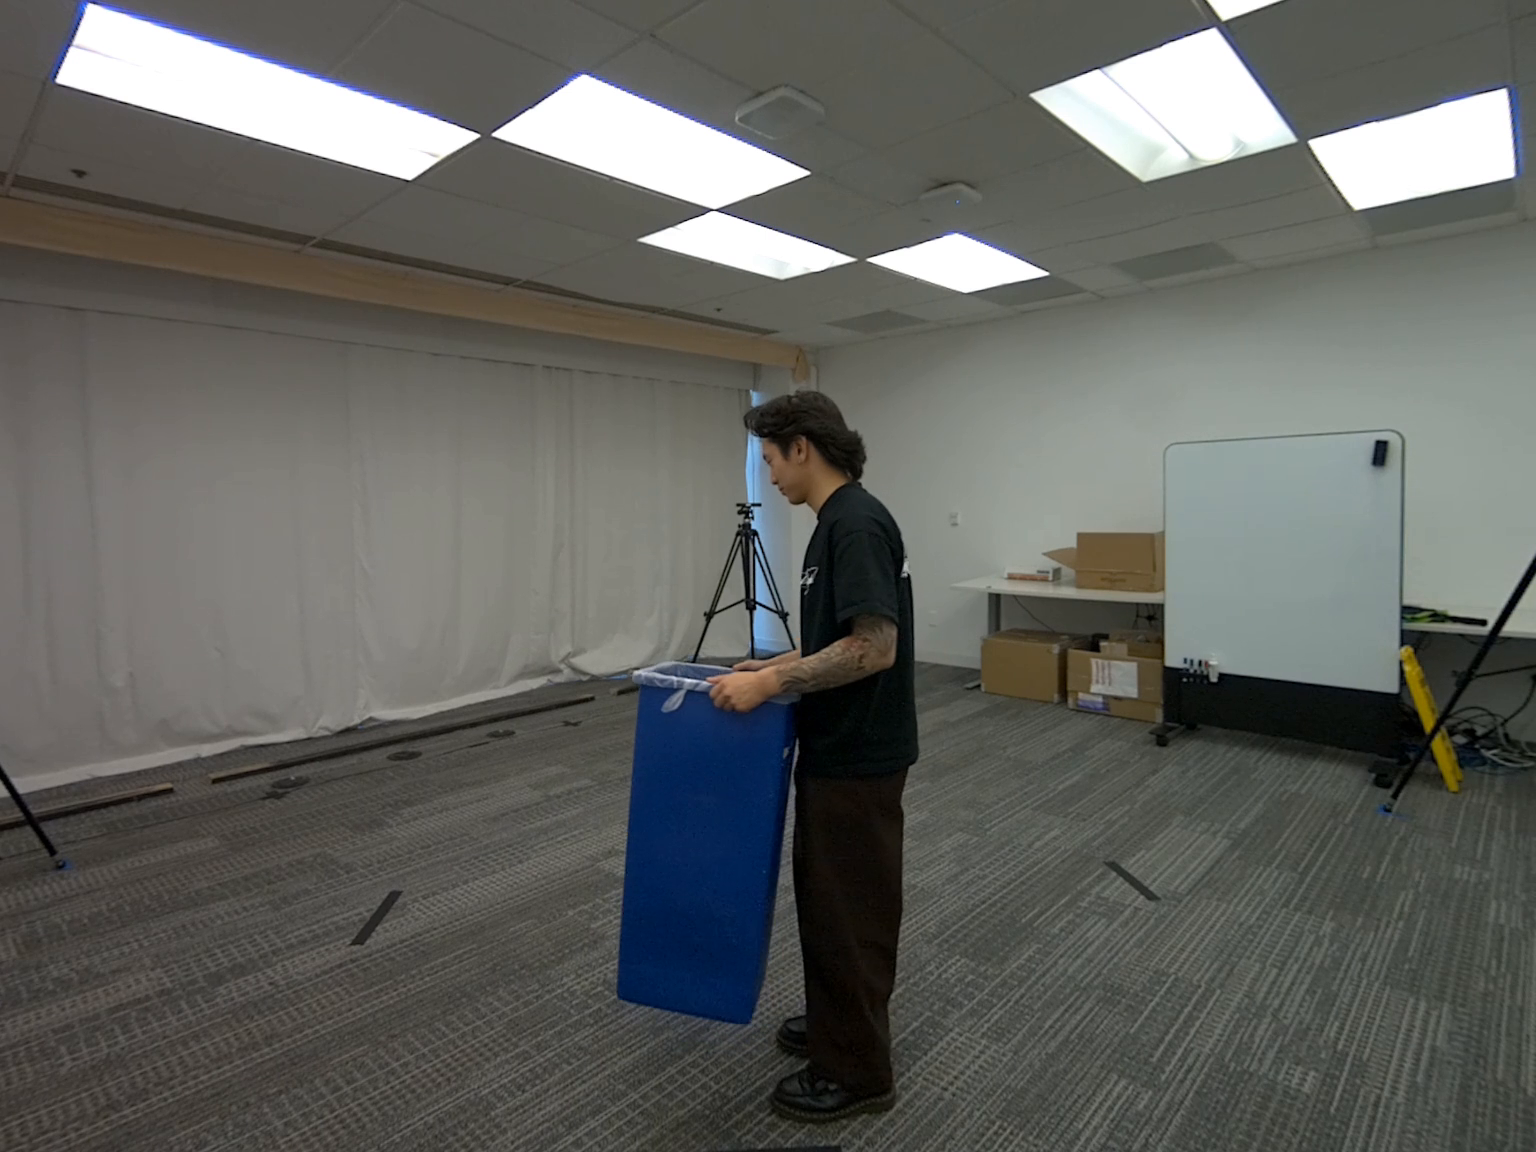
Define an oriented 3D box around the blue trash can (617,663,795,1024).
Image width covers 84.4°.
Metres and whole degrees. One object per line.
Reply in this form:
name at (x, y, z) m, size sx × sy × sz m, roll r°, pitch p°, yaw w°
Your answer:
blue trash can at (-0.124, 0.593, 1.973) m, size 0.384 × 0.714 × 0.367 m, roll 5°, pitch -2°, yaw 14°
